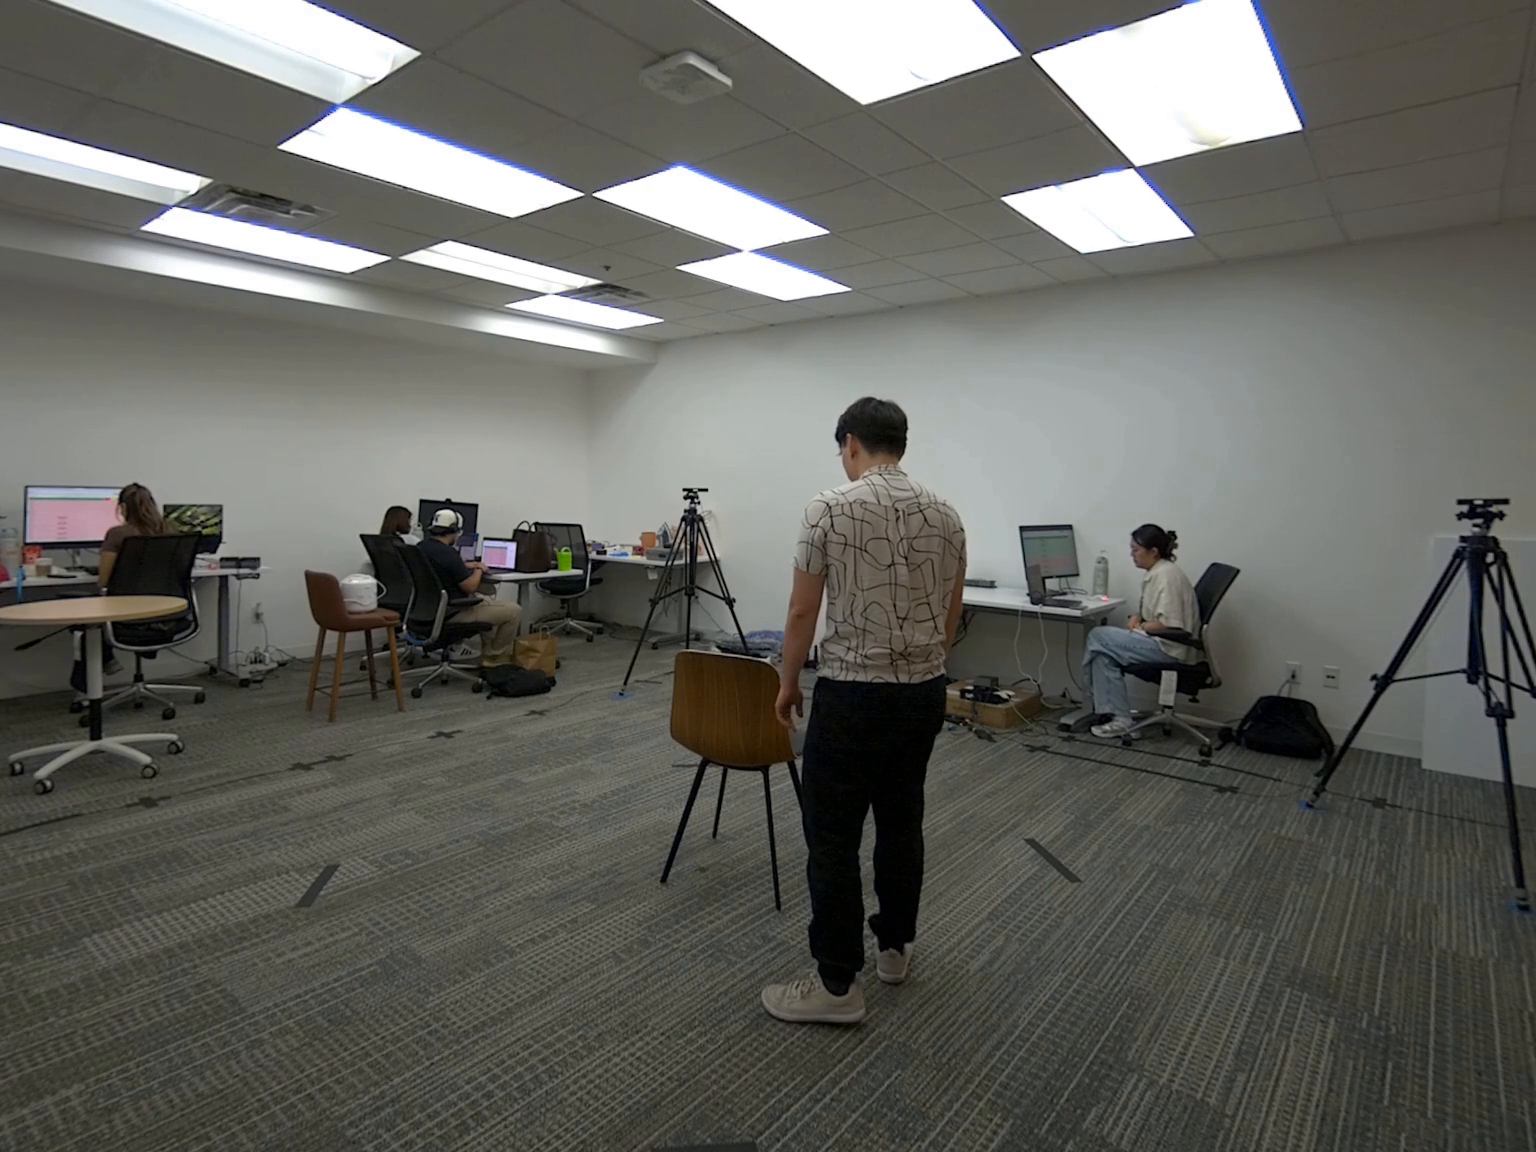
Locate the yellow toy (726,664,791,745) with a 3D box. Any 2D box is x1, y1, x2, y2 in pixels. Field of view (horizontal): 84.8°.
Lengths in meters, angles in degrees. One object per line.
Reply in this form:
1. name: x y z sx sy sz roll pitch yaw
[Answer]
1. yellow toy: -0.041 0.473 3.139 0.203 0.229 0.196 -3 9 -8
